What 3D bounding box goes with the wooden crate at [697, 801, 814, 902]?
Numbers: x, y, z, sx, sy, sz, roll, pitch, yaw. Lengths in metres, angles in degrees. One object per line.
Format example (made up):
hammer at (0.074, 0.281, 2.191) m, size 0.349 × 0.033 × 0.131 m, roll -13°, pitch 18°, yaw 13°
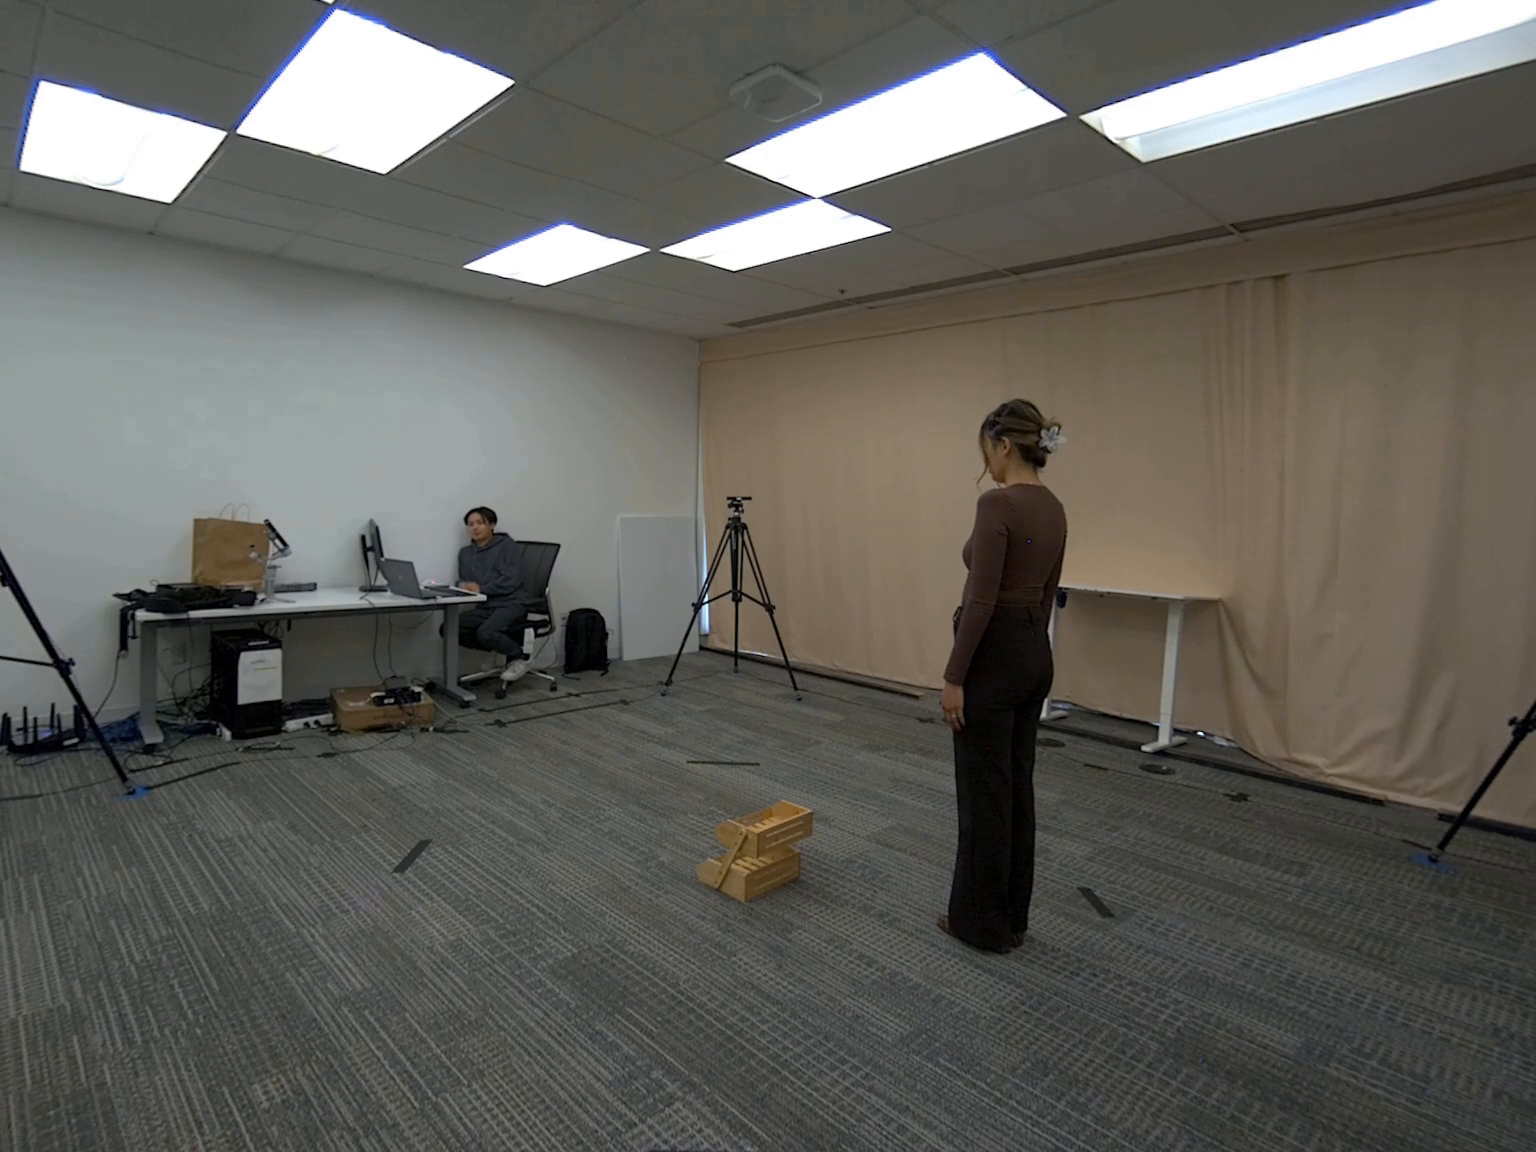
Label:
wooden crate at (-0.058, 0.977, 3.071) m, size 0.310 × 0.272 × 0.317 m, roll 5°, pitch 6°, yaw 43°
